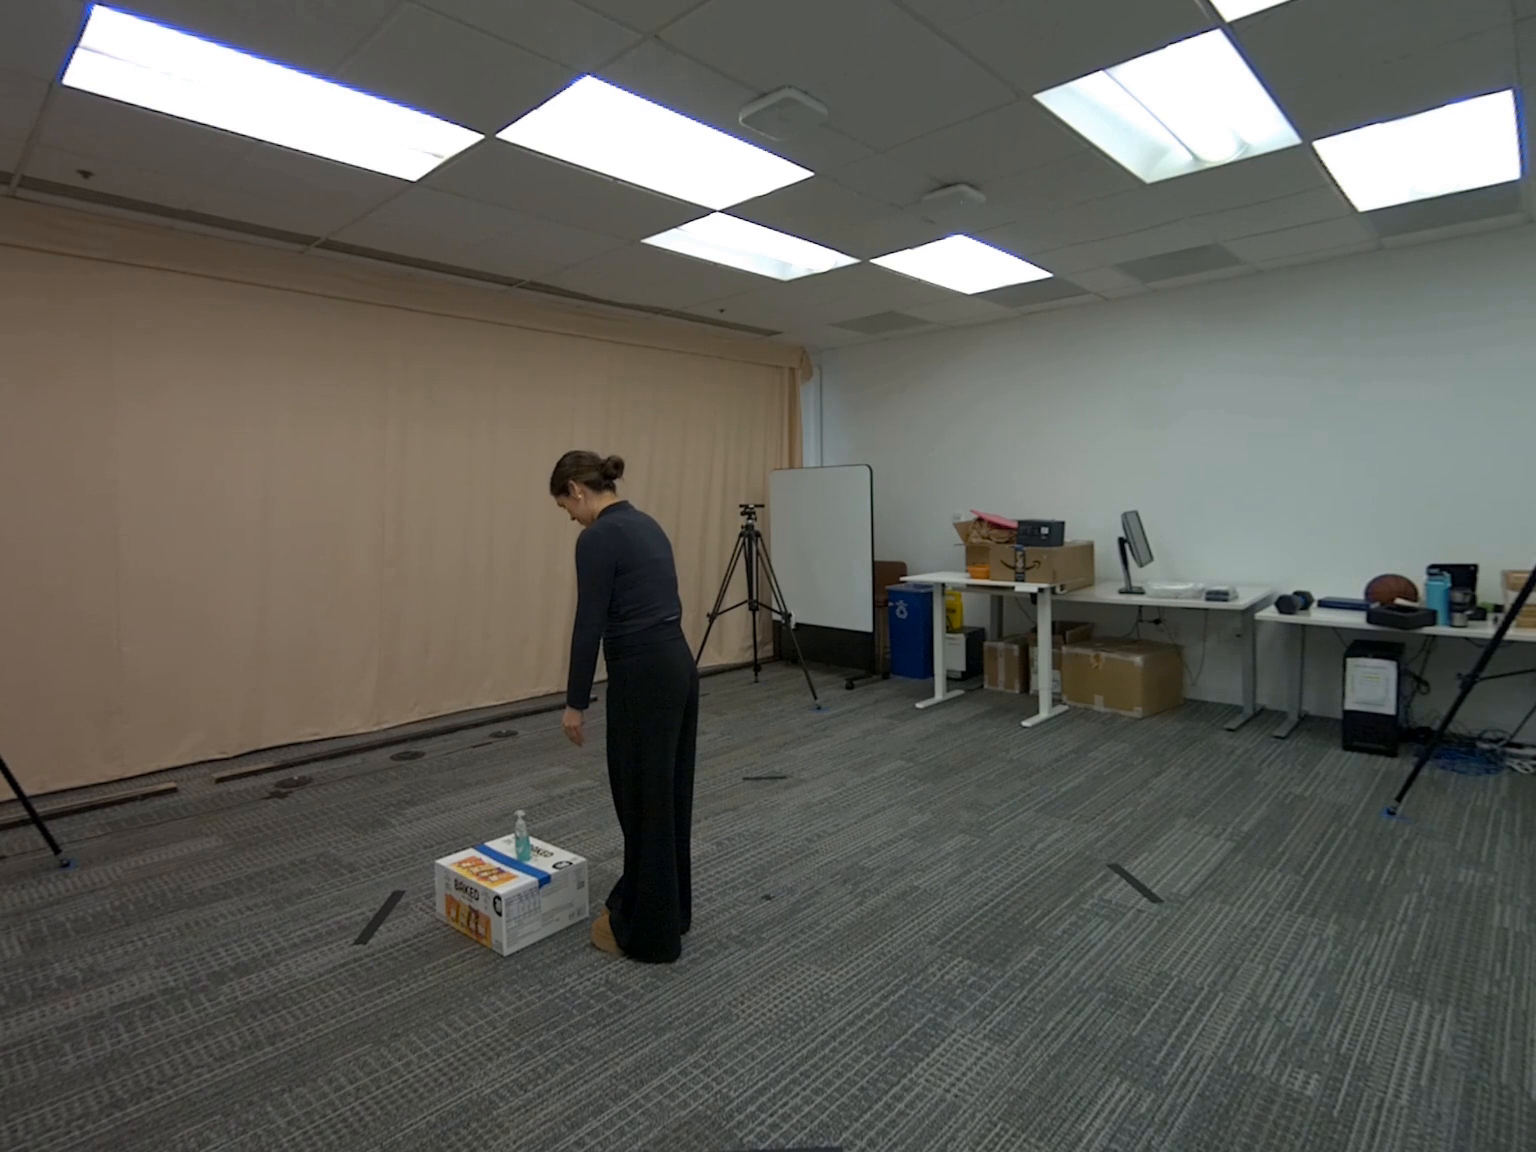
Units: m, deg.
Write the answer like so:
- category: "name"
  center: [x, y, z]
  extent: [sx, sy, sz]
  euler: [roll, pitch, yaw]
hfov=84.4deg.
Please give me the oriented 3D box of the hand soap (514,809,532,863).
- category: "hand soap"
  center: [-0.844, 0.888, 2.890]
  extent: [0.042, 0.168, 0.087]
  euler: [-6, 3, -44]
